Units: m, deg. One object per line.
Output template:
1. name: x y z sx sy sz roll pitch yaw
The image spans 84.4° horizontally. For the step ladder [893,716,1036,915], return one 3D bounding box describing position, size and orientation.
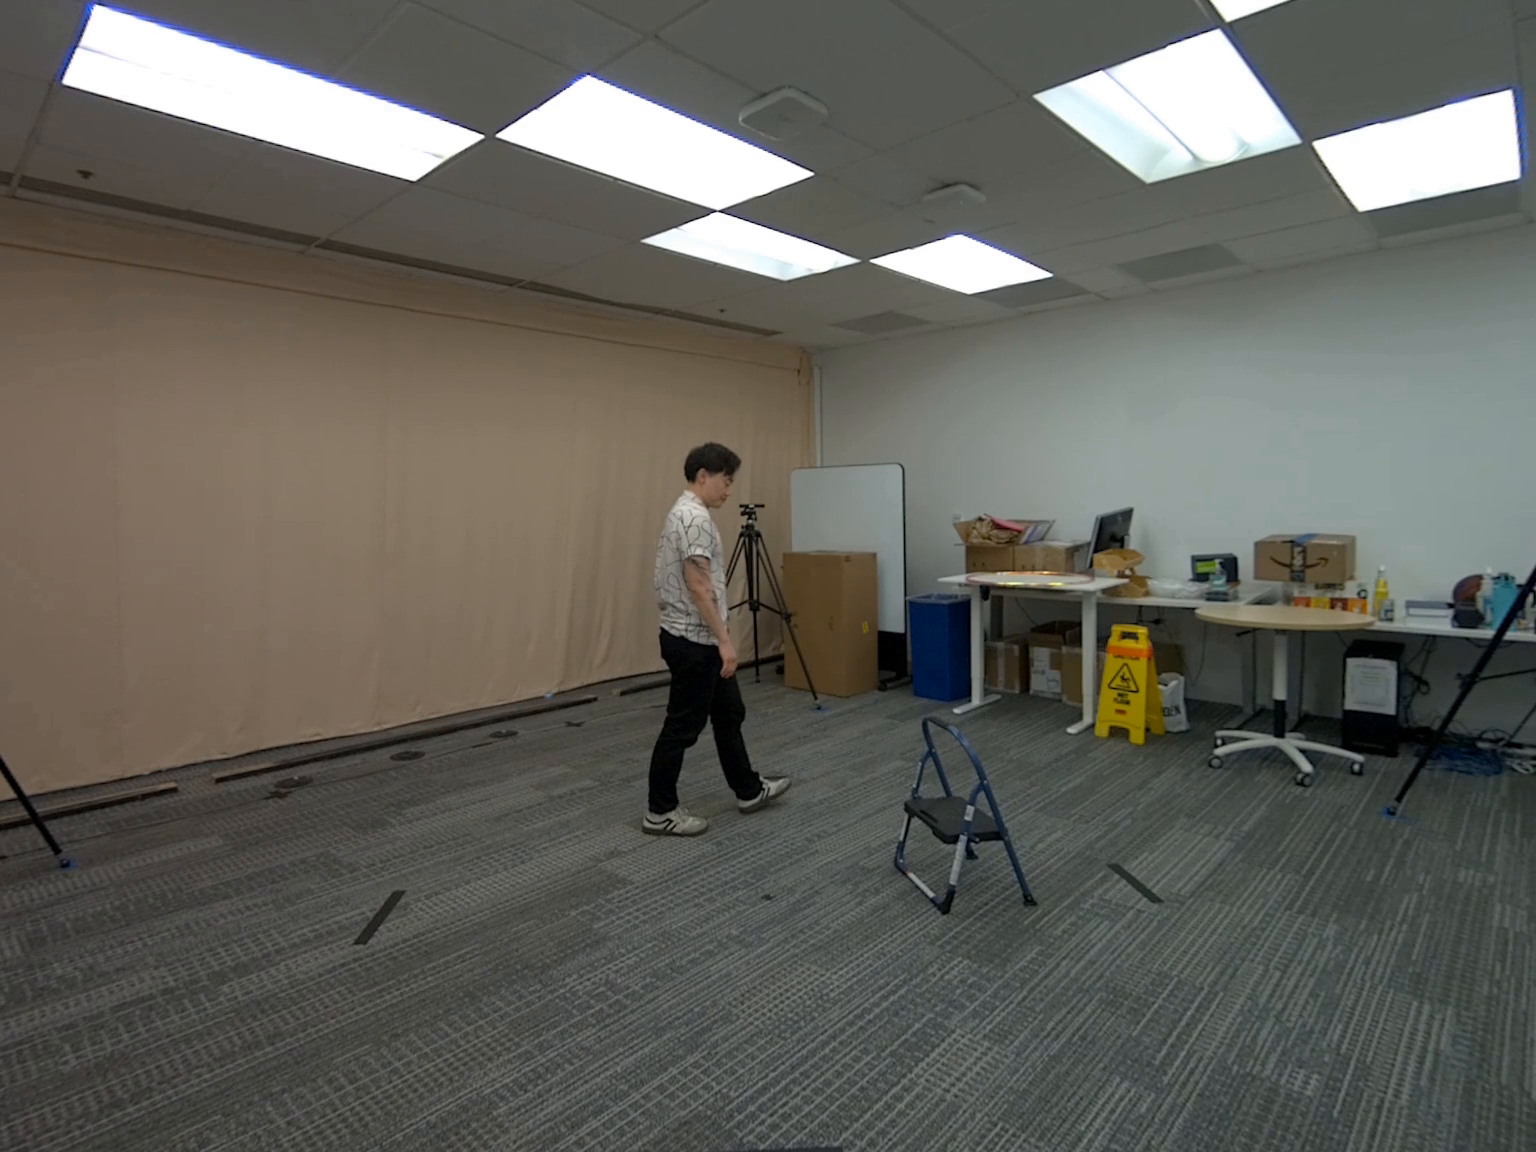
1. step ladder: 0.703 0.820 3.052 0.344 0.605 0.438 -2 3 -15
